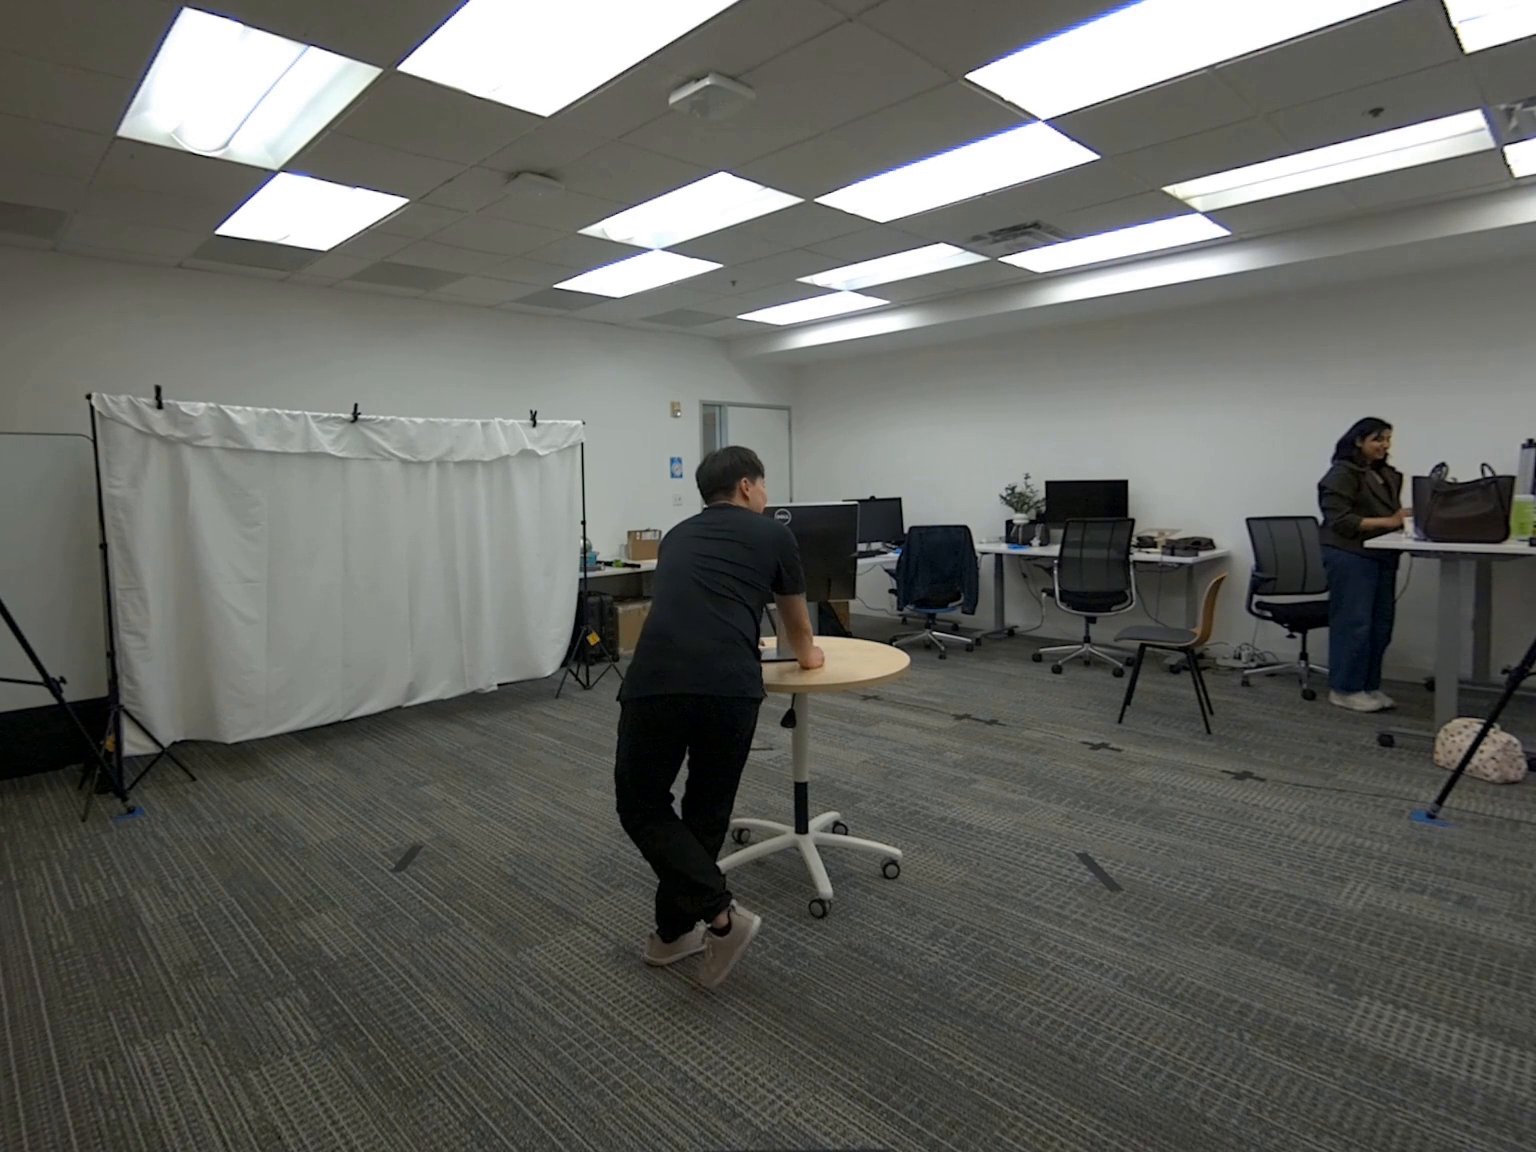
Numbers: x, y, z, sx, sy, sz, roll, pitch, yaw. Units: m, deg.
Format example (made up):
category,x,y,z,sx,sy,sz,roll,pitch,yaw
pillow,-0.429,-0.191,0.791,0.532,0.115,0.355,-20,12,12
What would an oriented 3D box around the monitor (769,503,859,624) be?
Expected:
category,x,y,z,sx,sy,sz,roll,pitch,yaw
monitor,0.050,0.019,3.017,0.535,0.521,0.189,-2,2,-8
